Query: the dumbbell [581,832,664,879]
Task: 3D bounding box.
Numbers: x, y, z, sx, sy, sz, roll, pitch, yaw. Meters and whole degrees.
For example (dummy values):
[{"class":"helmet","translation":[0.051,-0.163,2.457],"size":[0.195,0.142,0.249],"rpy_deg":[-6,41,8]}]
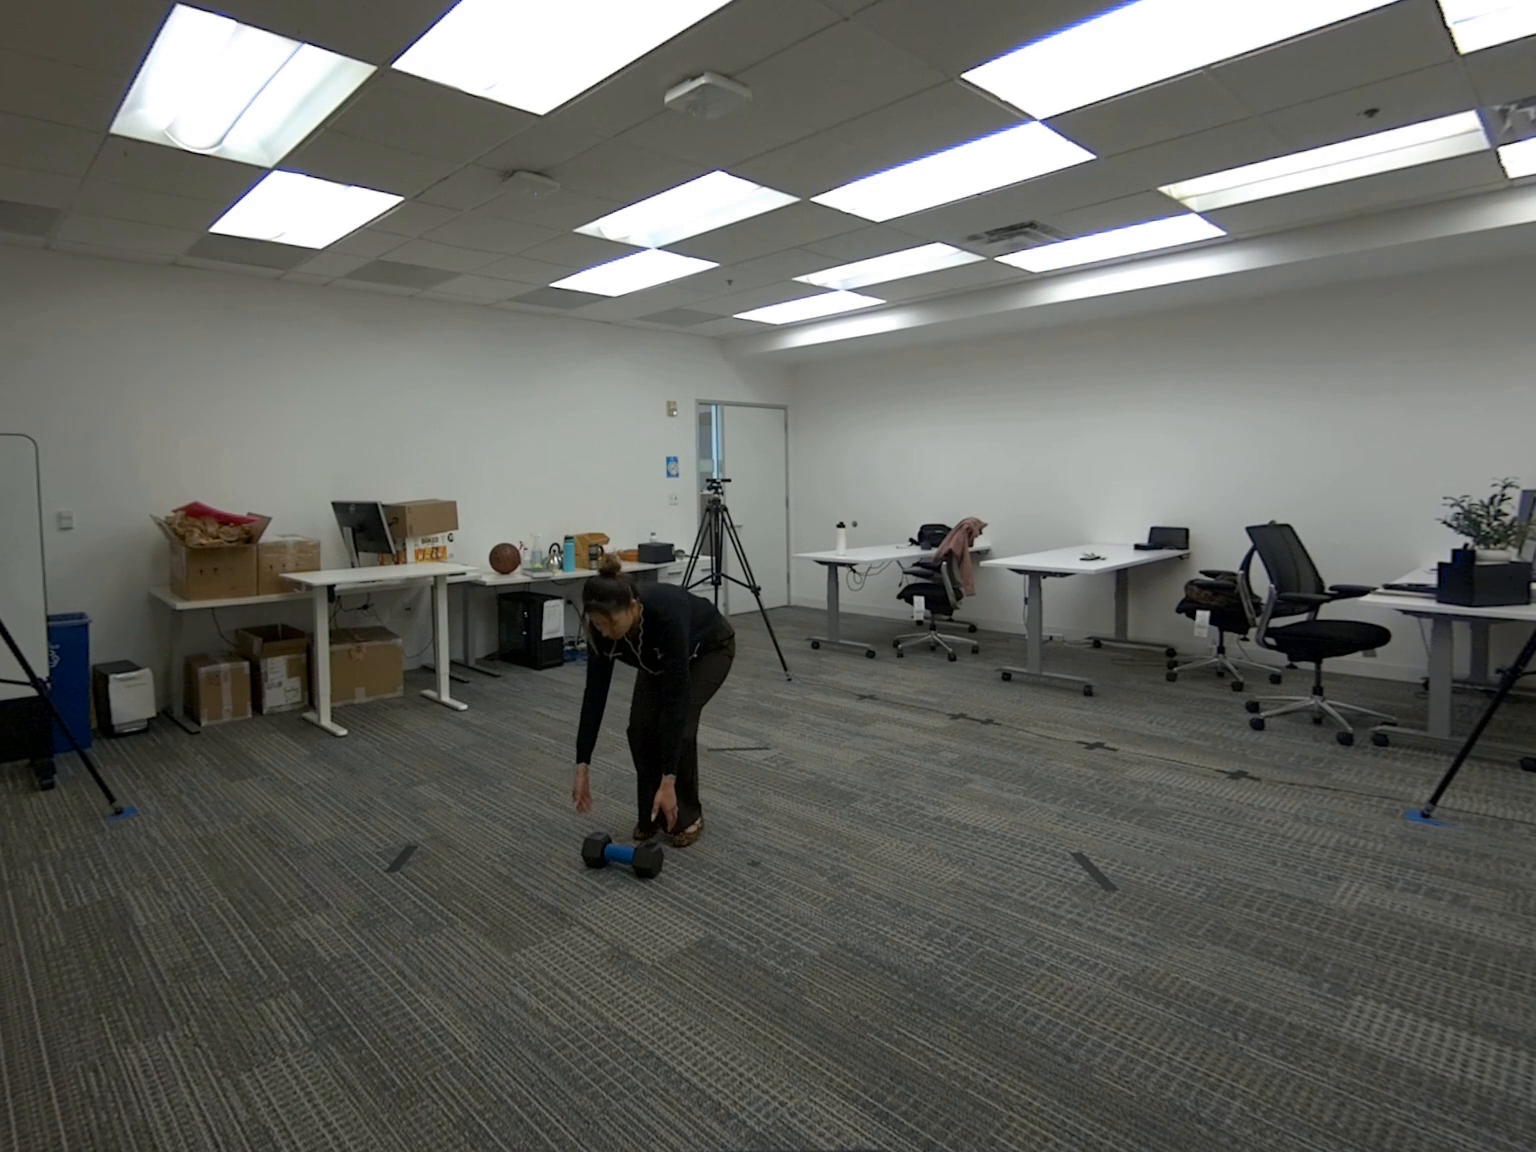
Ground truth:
[{"class":"dumbbell","translation":[-0.523,1.002,3.073],"size":[0.300,0.108,0.120],"rpy_deg":[2,4,24]}]
